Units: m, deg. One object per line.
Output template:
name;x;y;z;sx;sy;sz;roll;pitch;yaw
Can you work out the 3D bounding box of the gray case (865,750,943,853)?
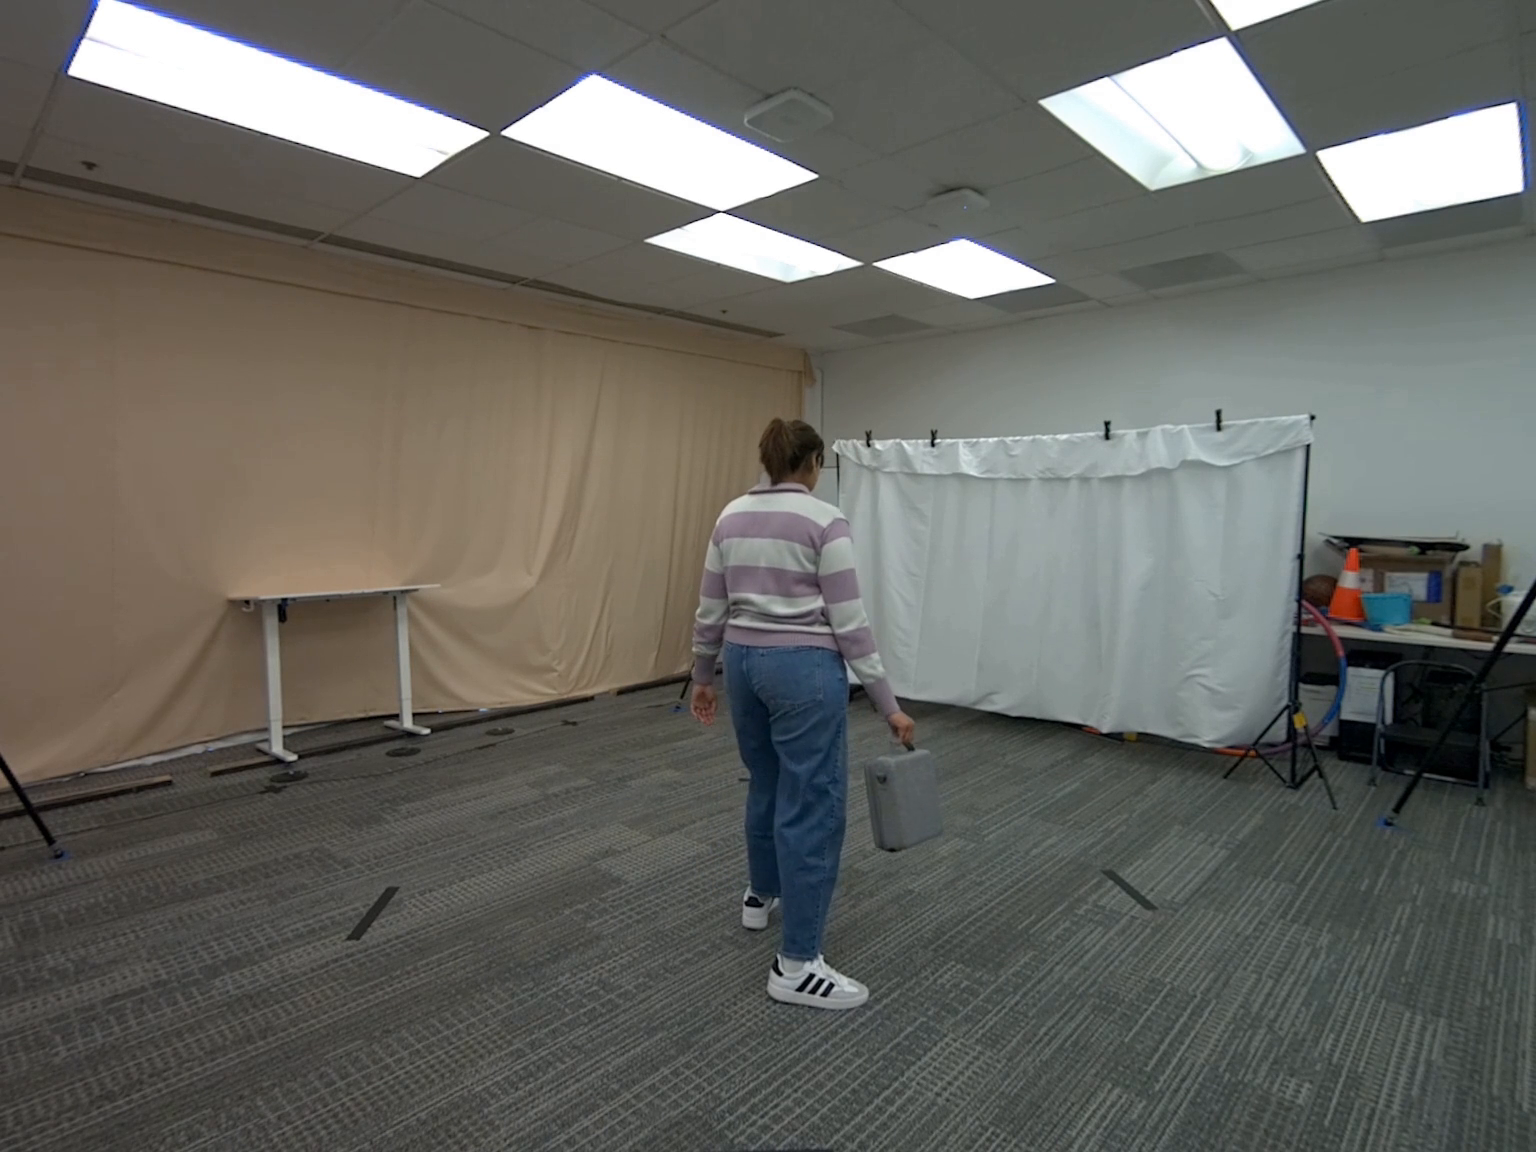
gray case;0.398;0.634;2.412;0.107;0.262;0.249;-12;-9;39
